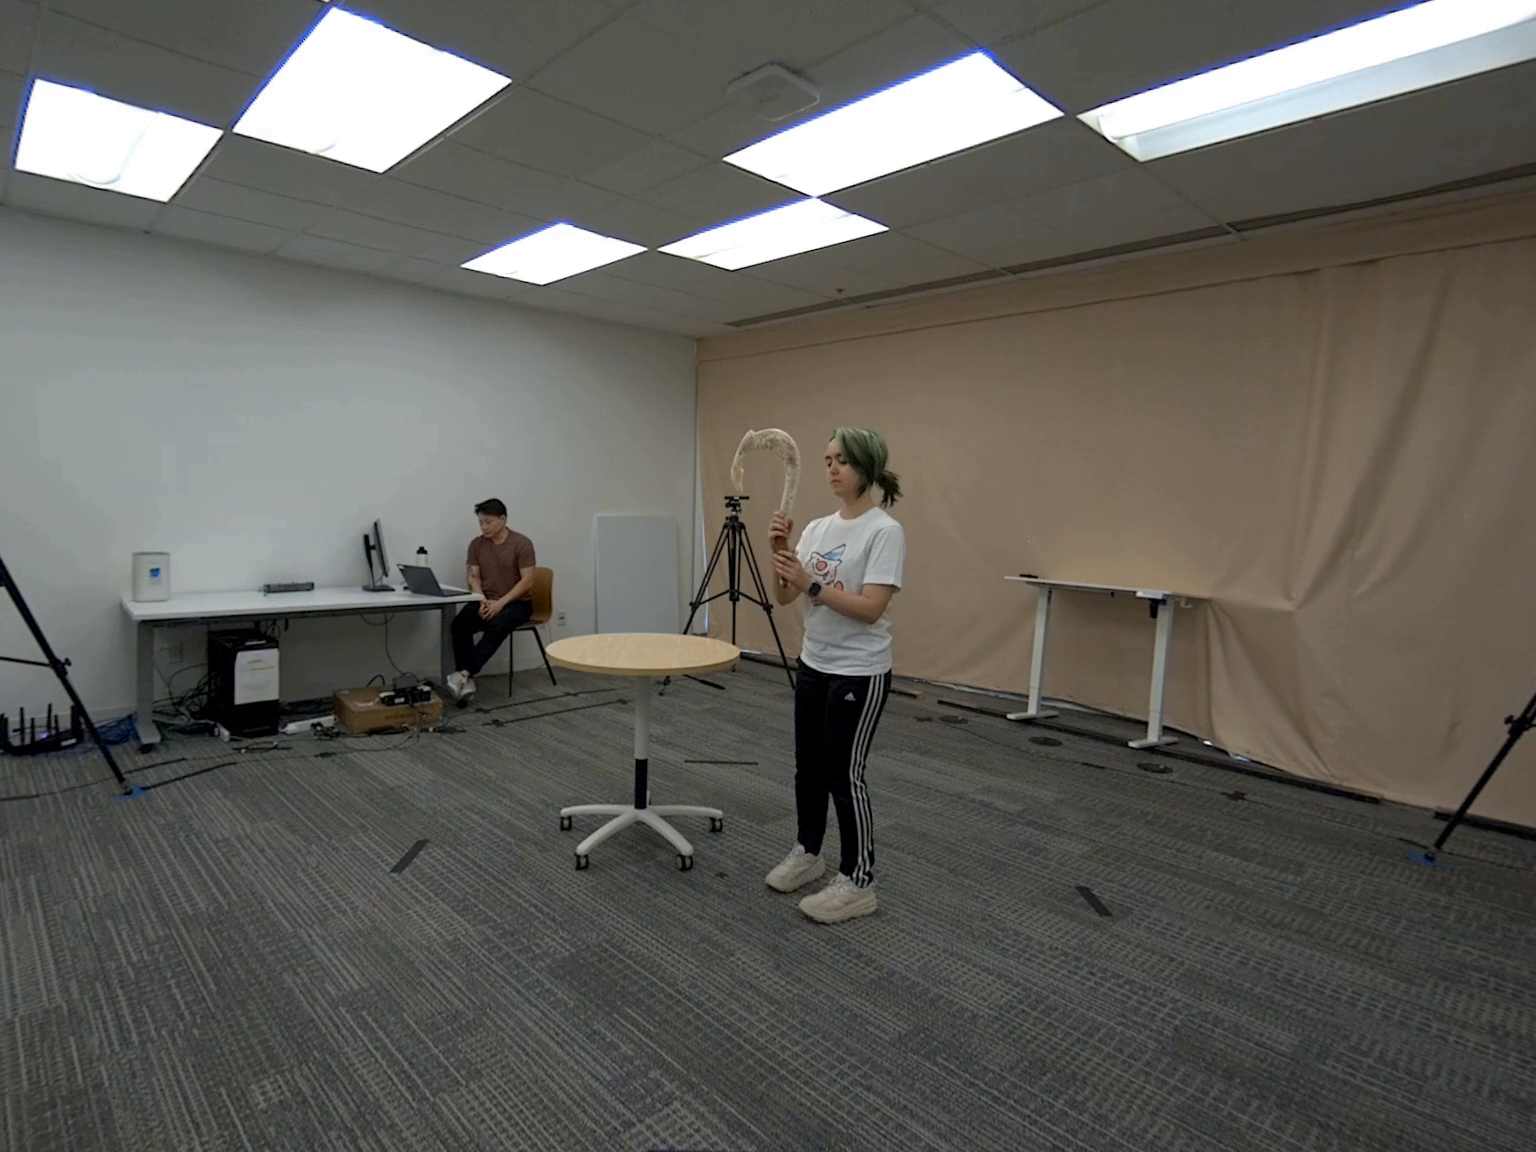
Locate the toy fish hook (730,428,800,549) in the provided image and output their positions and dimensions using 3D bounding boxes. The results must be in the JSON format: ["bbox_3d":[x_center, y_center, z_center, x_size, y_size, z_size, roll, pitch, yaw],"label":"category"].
[{"bbox_3d":[-0.001,-0.212,2.698,0.227,0.506,0.048,0,2,16],"label":"toy fish hook"}]
